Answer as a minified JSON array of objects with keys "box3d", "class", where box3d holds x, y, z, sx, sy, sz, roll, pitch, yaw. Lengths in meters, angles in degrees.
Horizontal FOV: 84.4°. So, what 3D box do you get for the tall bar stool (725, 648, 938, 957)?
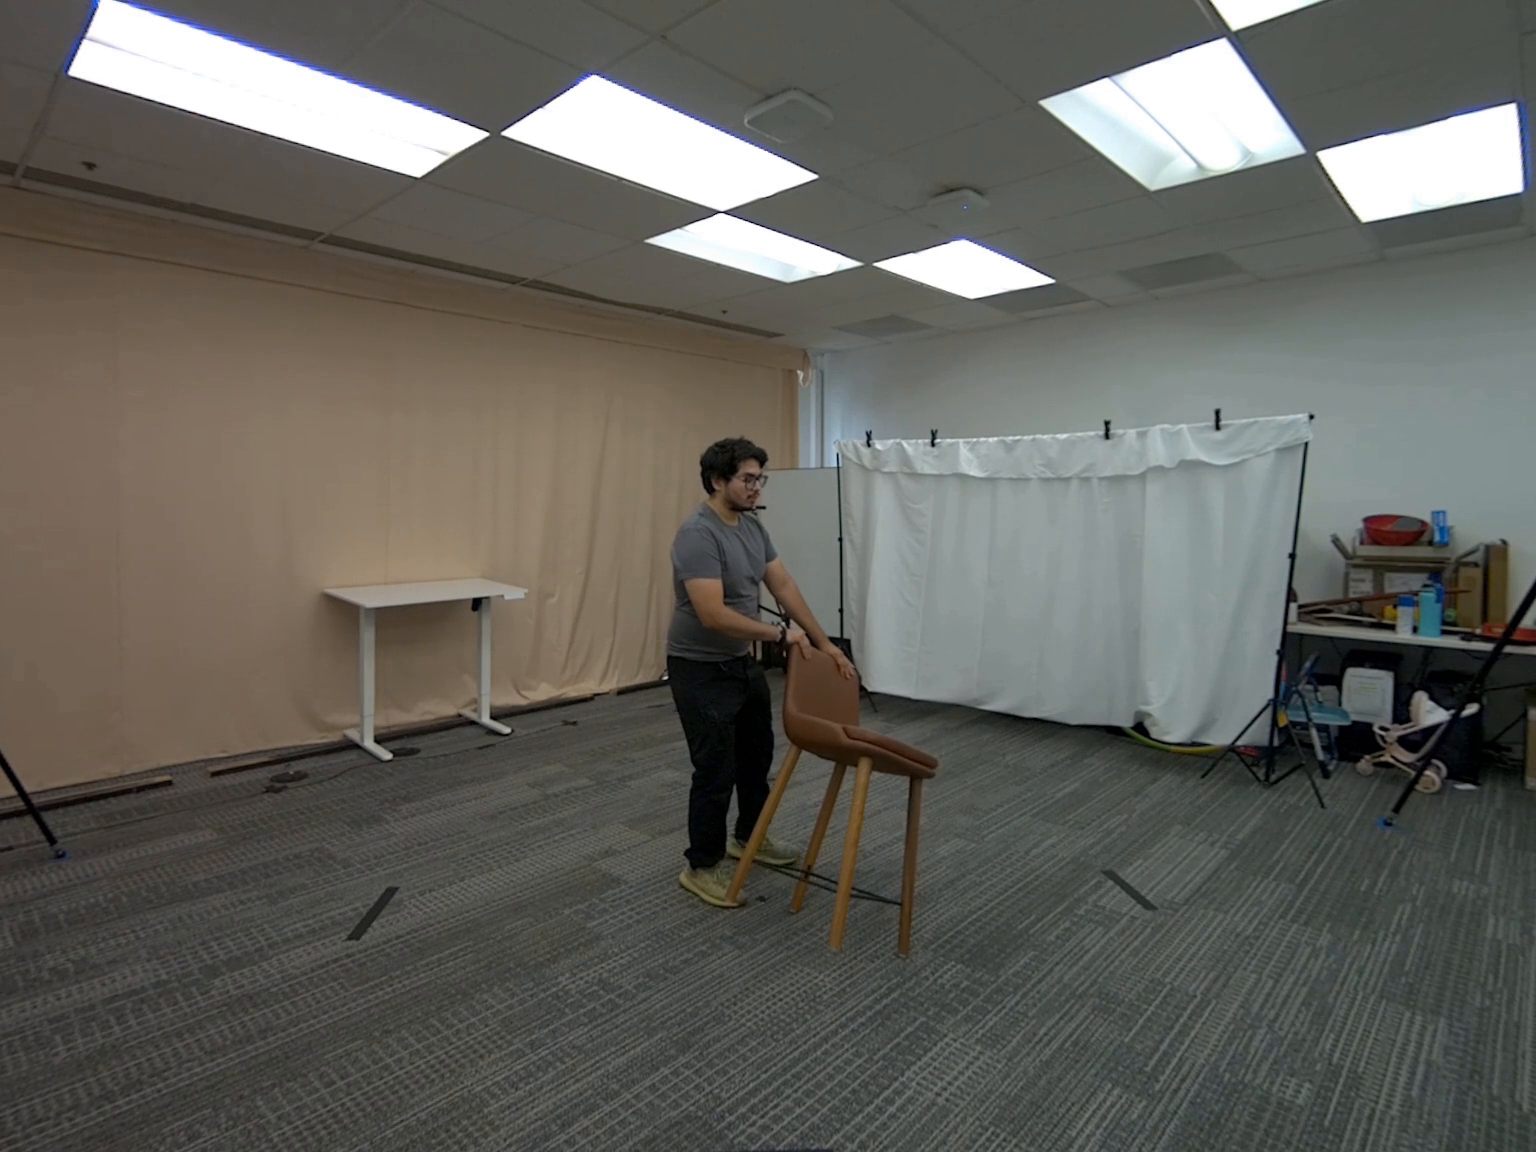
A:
[{"box3d":[0.261,0.693,2.735,0.482,0.894,0.440,-2,-22,43],"class":"tall bar stool"}]
